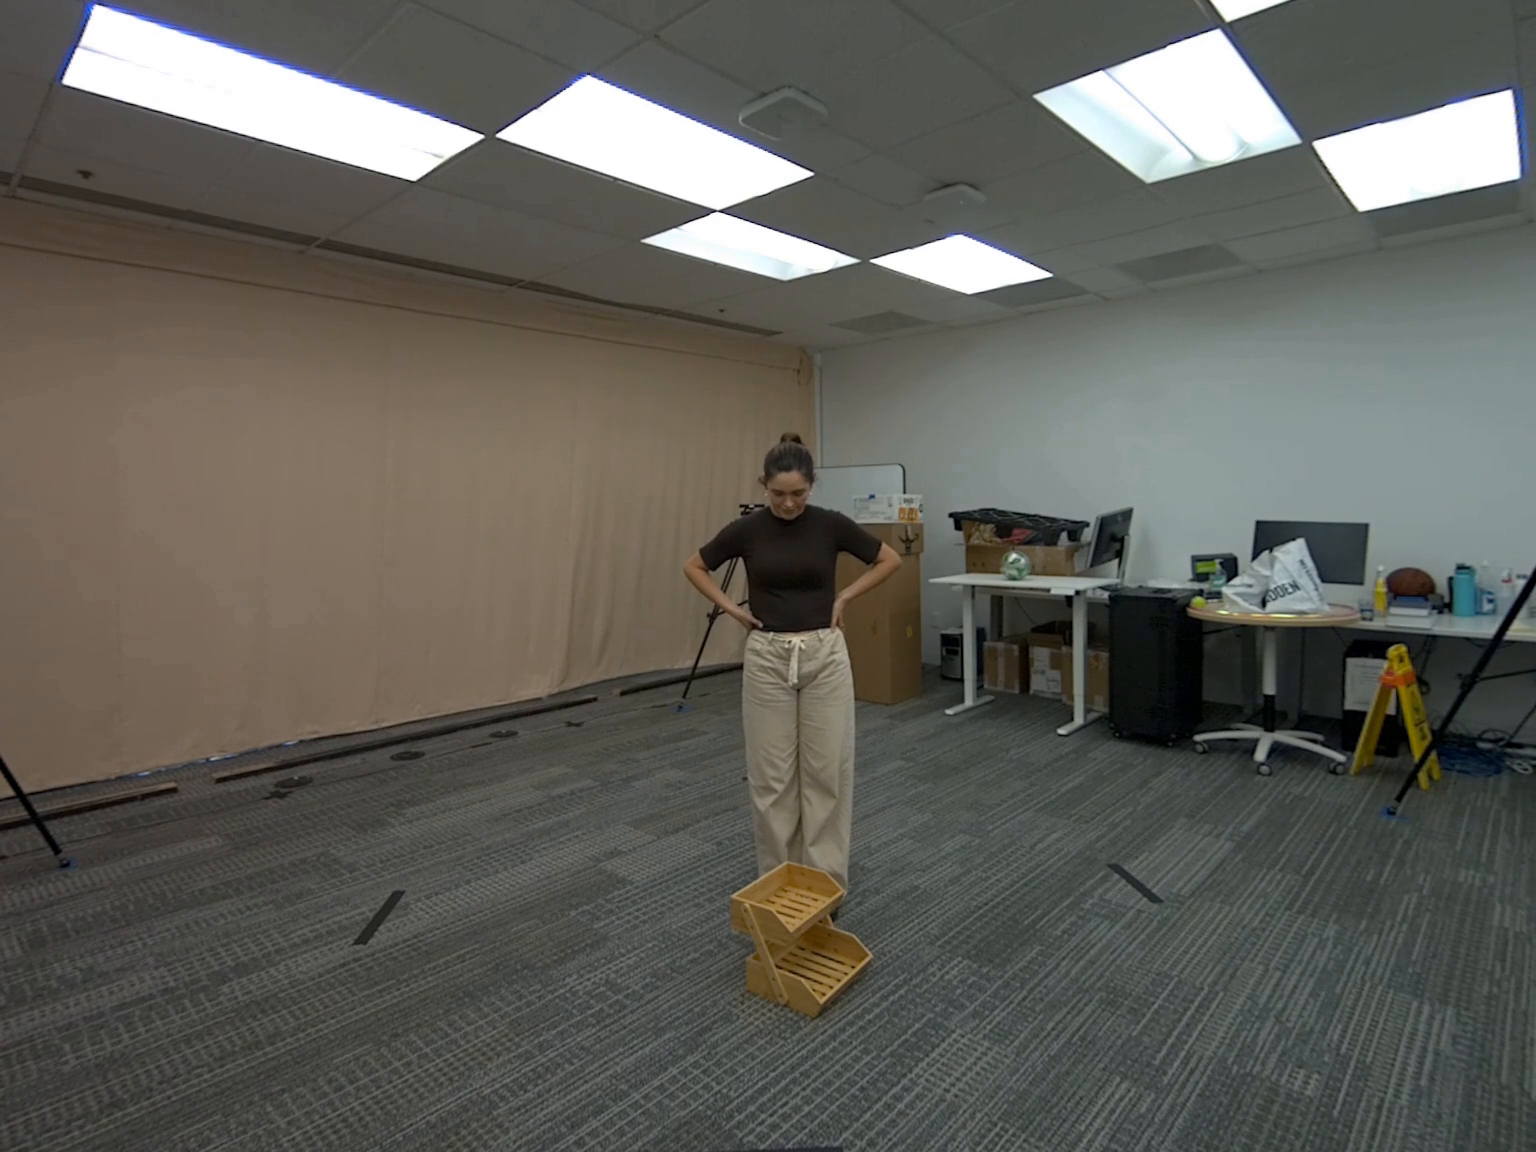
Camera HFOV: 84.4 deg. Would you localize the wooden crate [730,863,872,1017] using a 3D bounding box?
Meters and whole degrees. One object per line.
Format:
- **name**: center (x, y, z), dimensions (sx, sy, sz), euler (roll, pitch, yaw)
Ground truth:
- **wooden crate**: center (0.105, 1.042, 2.472), dimensions (0.311, 0.273, 0.315), euler (1, 4, 36)
